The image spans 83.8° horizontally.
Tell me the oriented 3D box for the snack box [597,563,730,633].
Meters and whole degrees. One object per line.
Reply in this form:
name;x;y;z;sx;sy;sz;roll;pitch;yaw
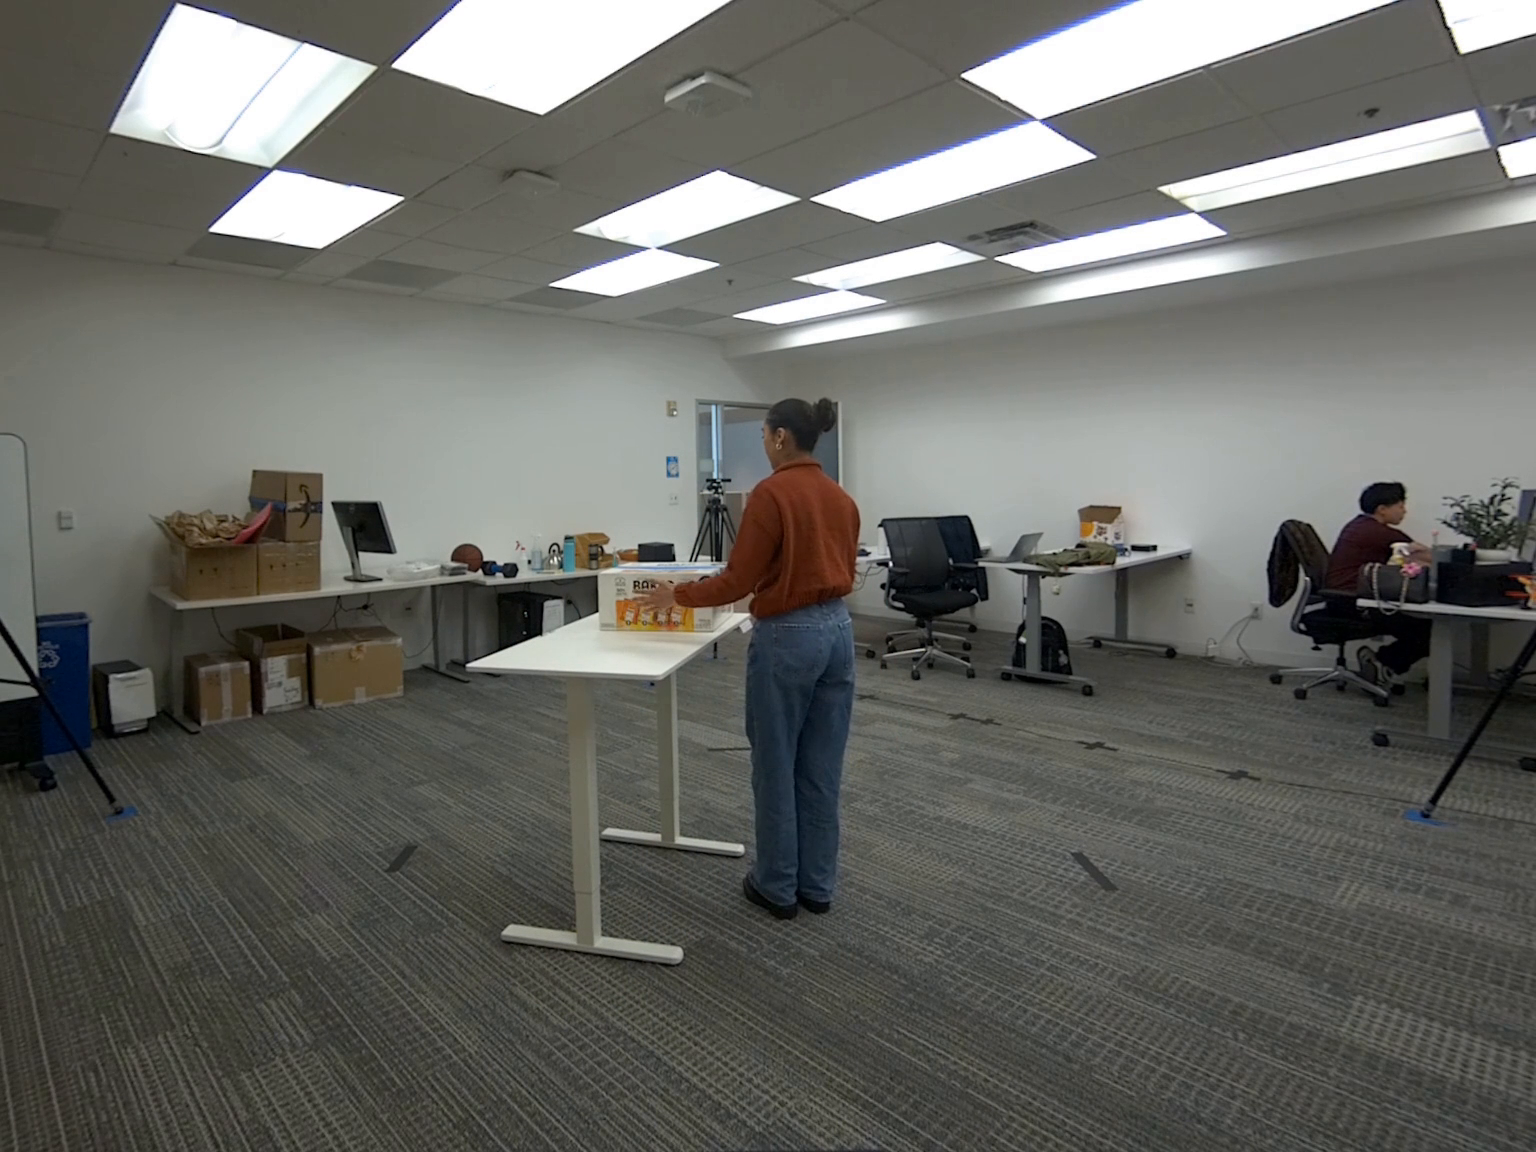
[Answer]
snack box;-0.359;0.069;3.079;0.409;0.204;0.339;0;7;10
